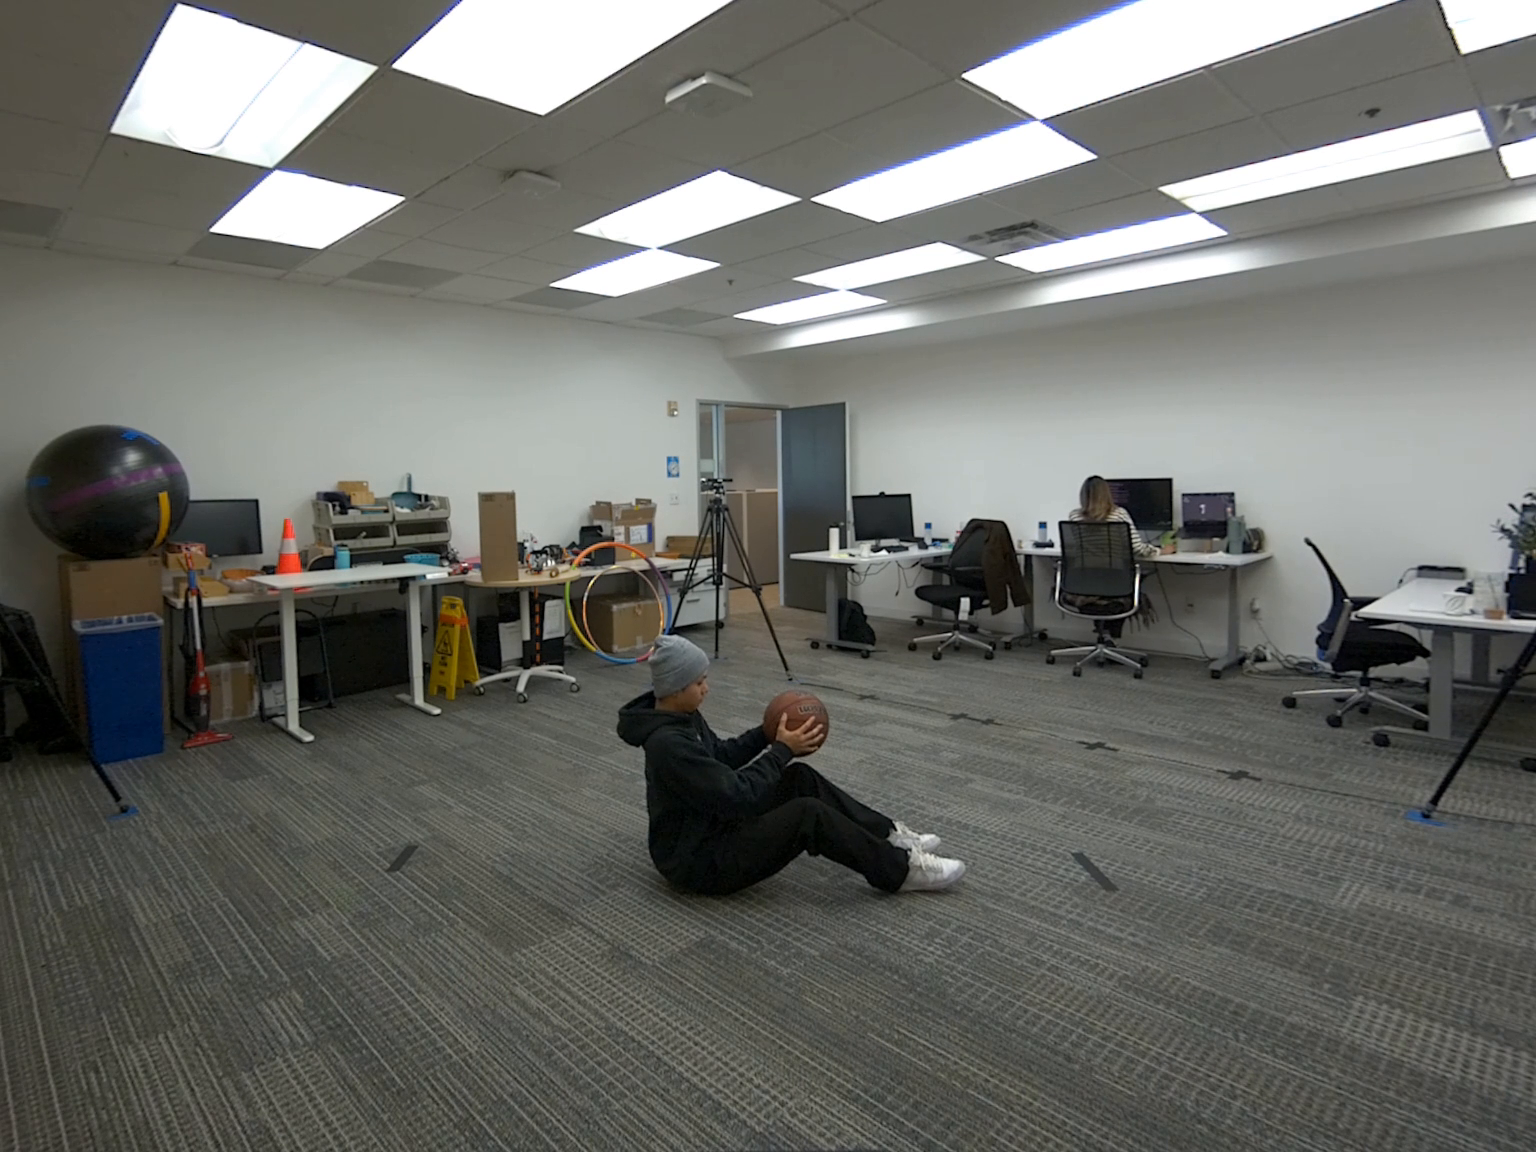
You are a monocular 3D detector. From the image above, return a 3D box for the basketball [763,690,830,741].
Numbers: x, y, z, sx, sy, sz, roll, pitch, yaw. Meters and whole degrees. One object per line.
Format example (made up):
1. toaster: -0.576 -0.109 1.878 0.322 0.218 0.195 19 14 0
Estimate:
1. basketball: 0.098 0.531 3.079 0.236 0.235 0.237 -1 5 -2
